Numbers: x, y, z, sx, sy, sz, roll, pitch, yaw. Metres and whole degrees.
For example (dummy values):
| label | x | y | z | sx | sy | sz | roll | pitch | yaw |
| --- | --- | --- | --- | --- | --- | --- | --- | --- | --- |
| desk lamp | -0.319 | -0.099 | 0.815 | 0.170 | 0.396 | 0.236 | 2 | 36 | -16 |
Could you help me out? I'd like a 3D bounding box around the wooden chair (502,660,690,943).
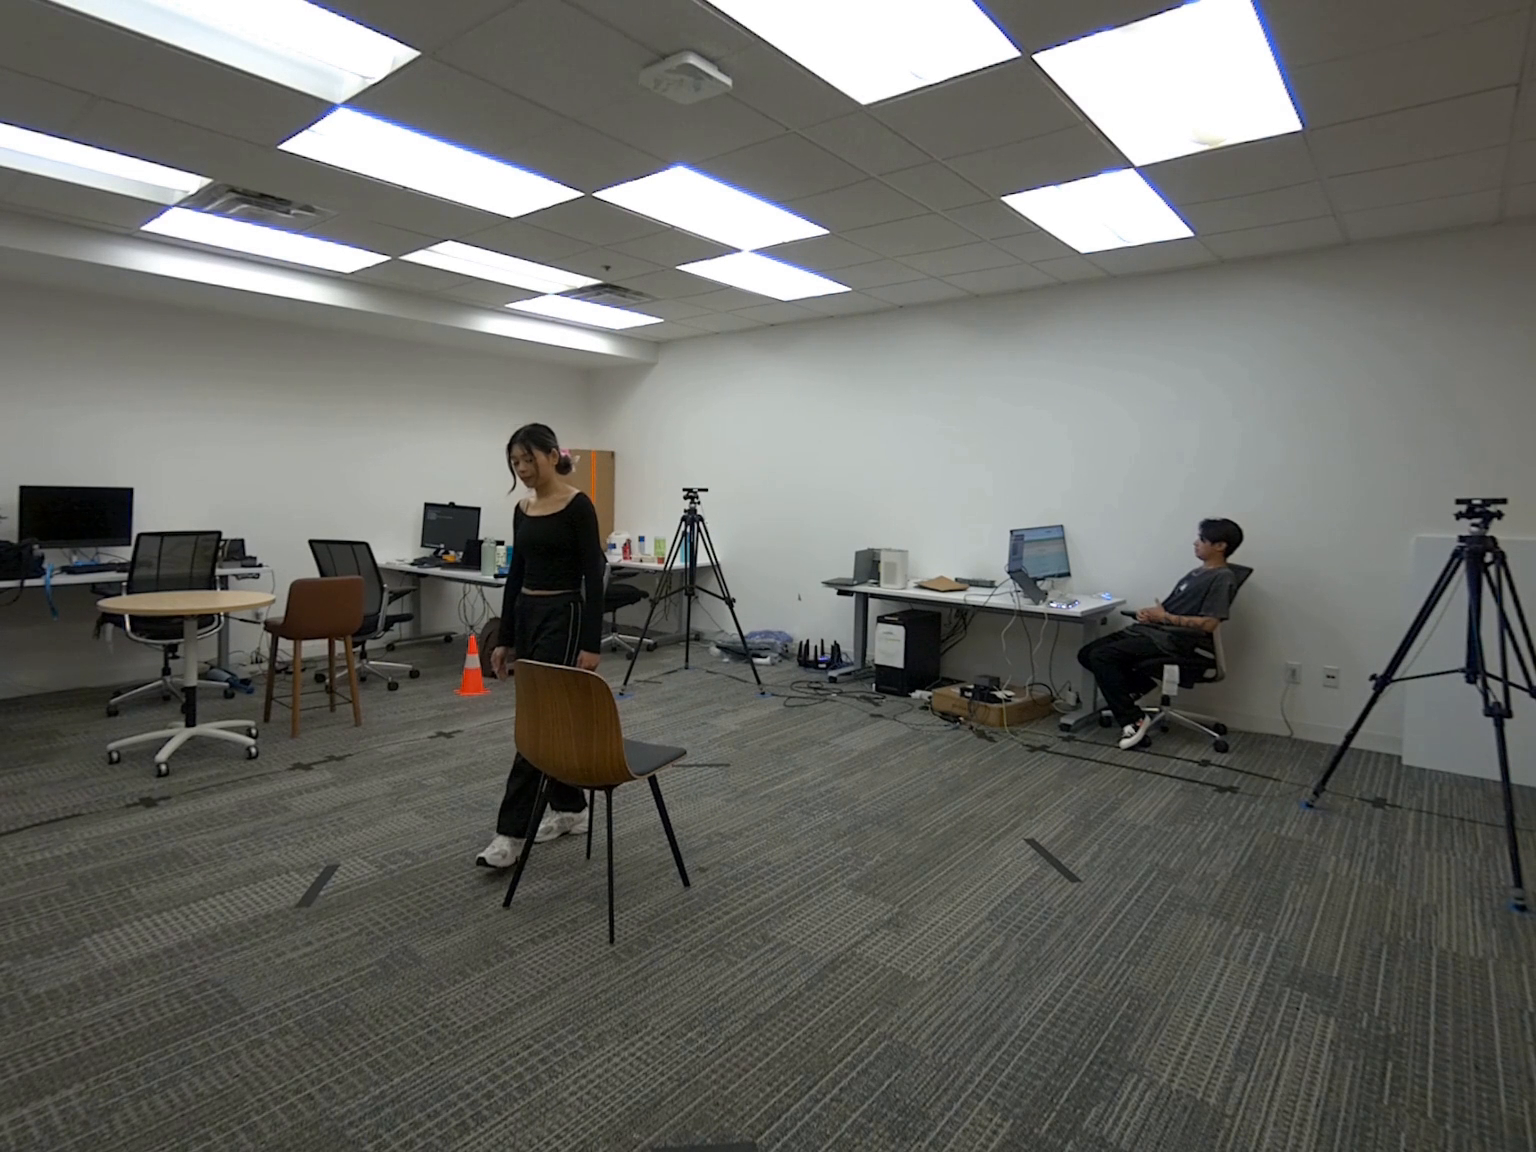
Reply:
| label | x | y | z | sx | sy | sz | roll | pitch | yaw |
| --- | --- | --- | --- | --- | --- | --- | --- | --- | --- |
| wooden chair | -0.567 | 0.659 | 2.865 | 0.492 | 0.871 | 0.512 | 2 | 8 | 28 |
